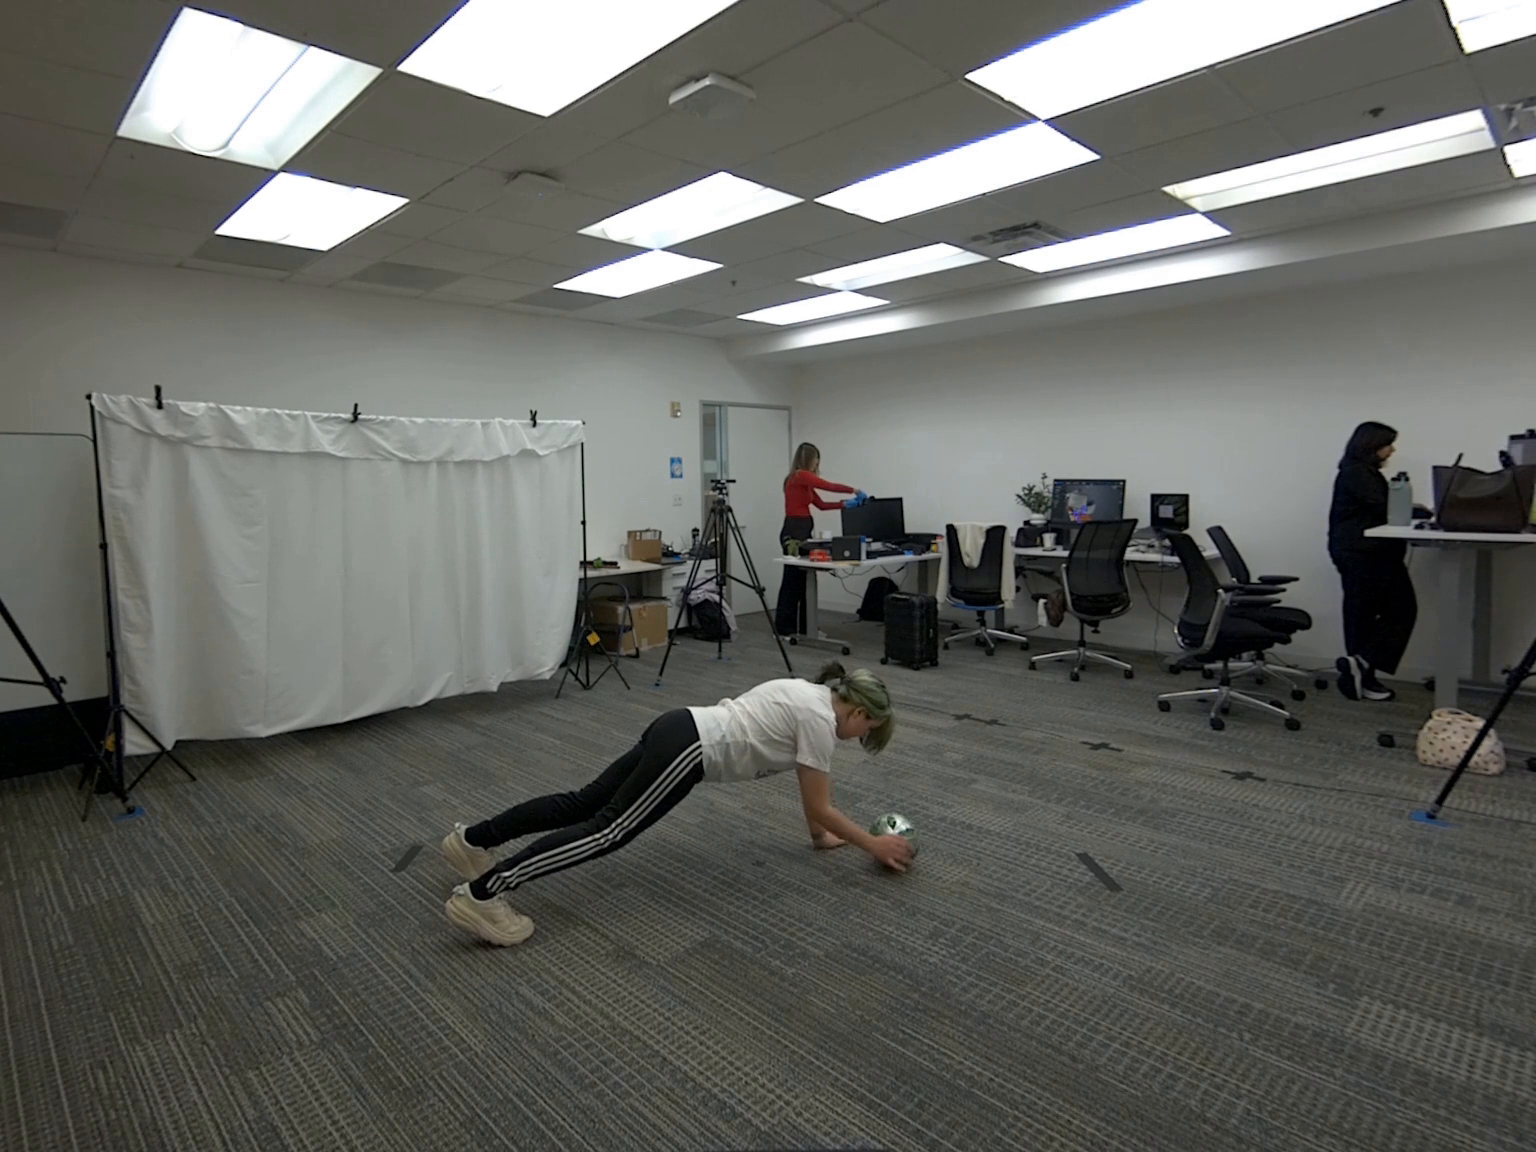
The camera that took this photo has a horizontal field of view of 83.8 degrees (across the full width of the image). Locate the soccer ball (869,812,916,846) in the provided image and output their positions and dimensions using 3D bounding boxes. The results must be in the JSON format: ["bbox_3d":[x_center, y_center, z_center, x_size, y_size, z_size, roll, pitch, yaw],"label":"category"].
[{"bbox_3d":[0.443,0.945,3.059,0.187,0.187,0.188,-1,5,-2],"label":"soccer ball"}]
